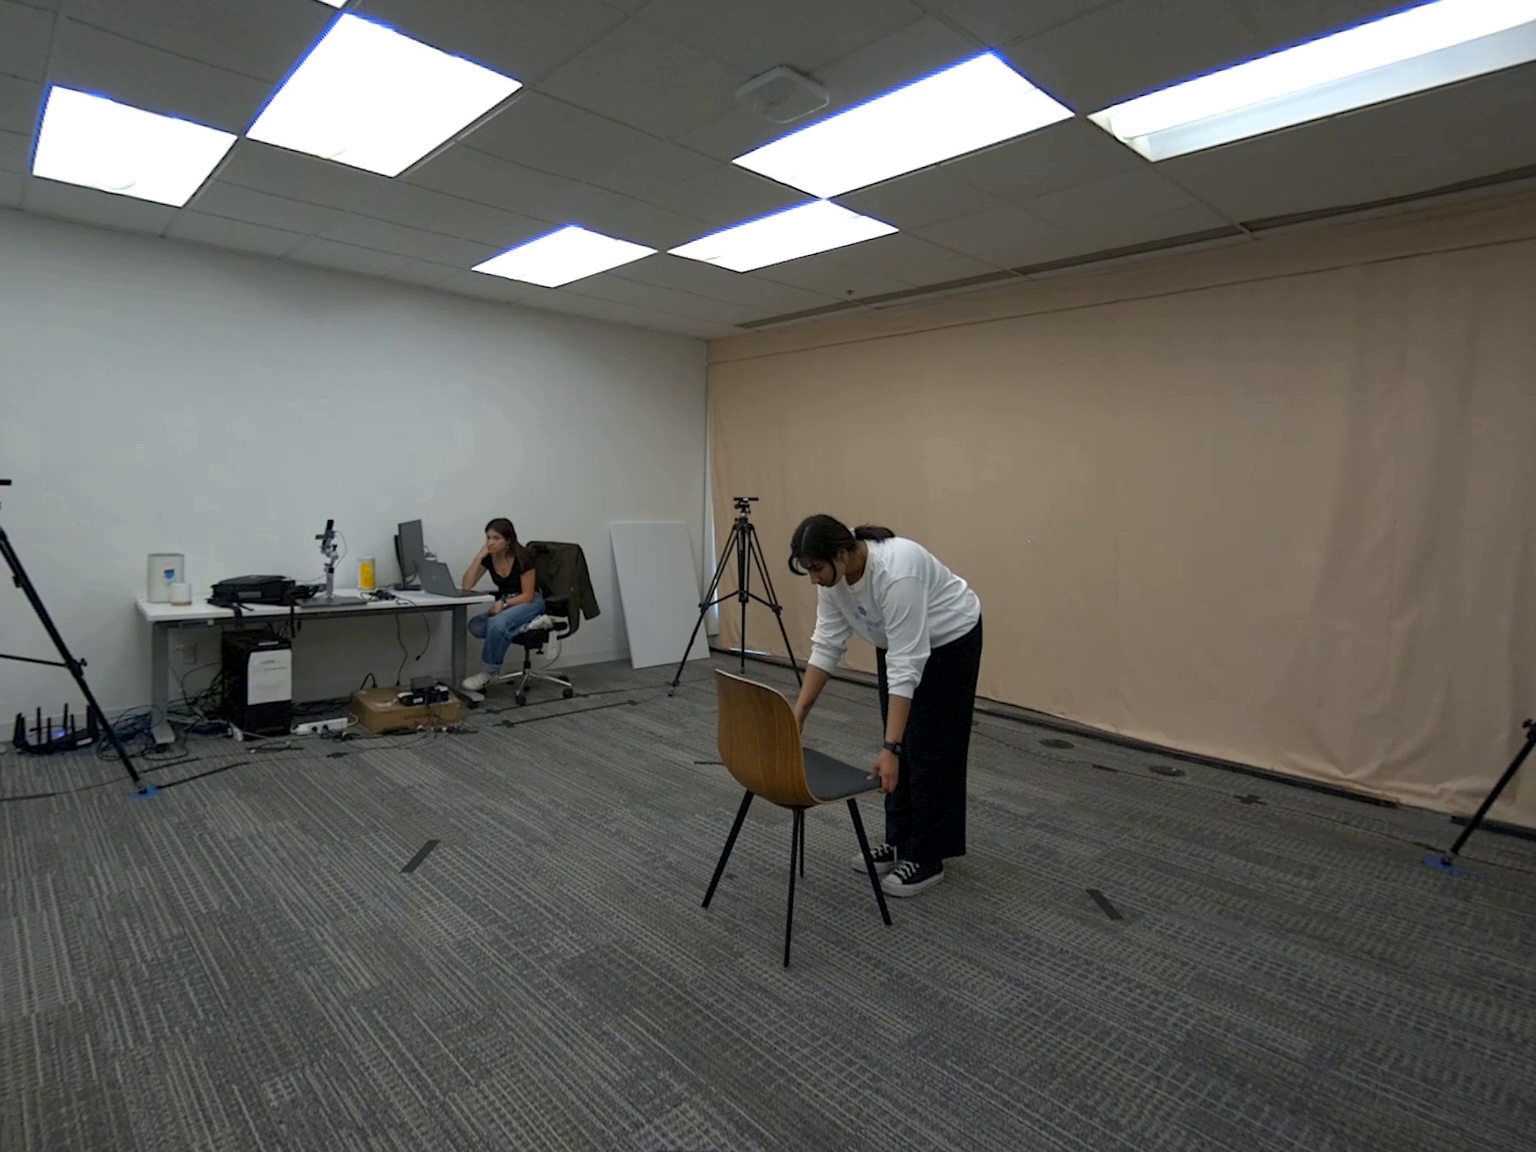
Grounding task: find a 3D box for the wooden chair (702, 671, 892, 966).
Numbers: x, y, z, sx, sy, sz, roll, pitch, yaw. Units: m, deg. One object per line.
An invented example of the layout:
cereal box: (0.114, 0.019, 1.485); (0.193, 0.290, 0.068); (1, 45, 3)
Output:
wooden chair: (0.097, 0.713, 2.787); (0.513, 0.873, 0.490); (-7, 8, -37)
